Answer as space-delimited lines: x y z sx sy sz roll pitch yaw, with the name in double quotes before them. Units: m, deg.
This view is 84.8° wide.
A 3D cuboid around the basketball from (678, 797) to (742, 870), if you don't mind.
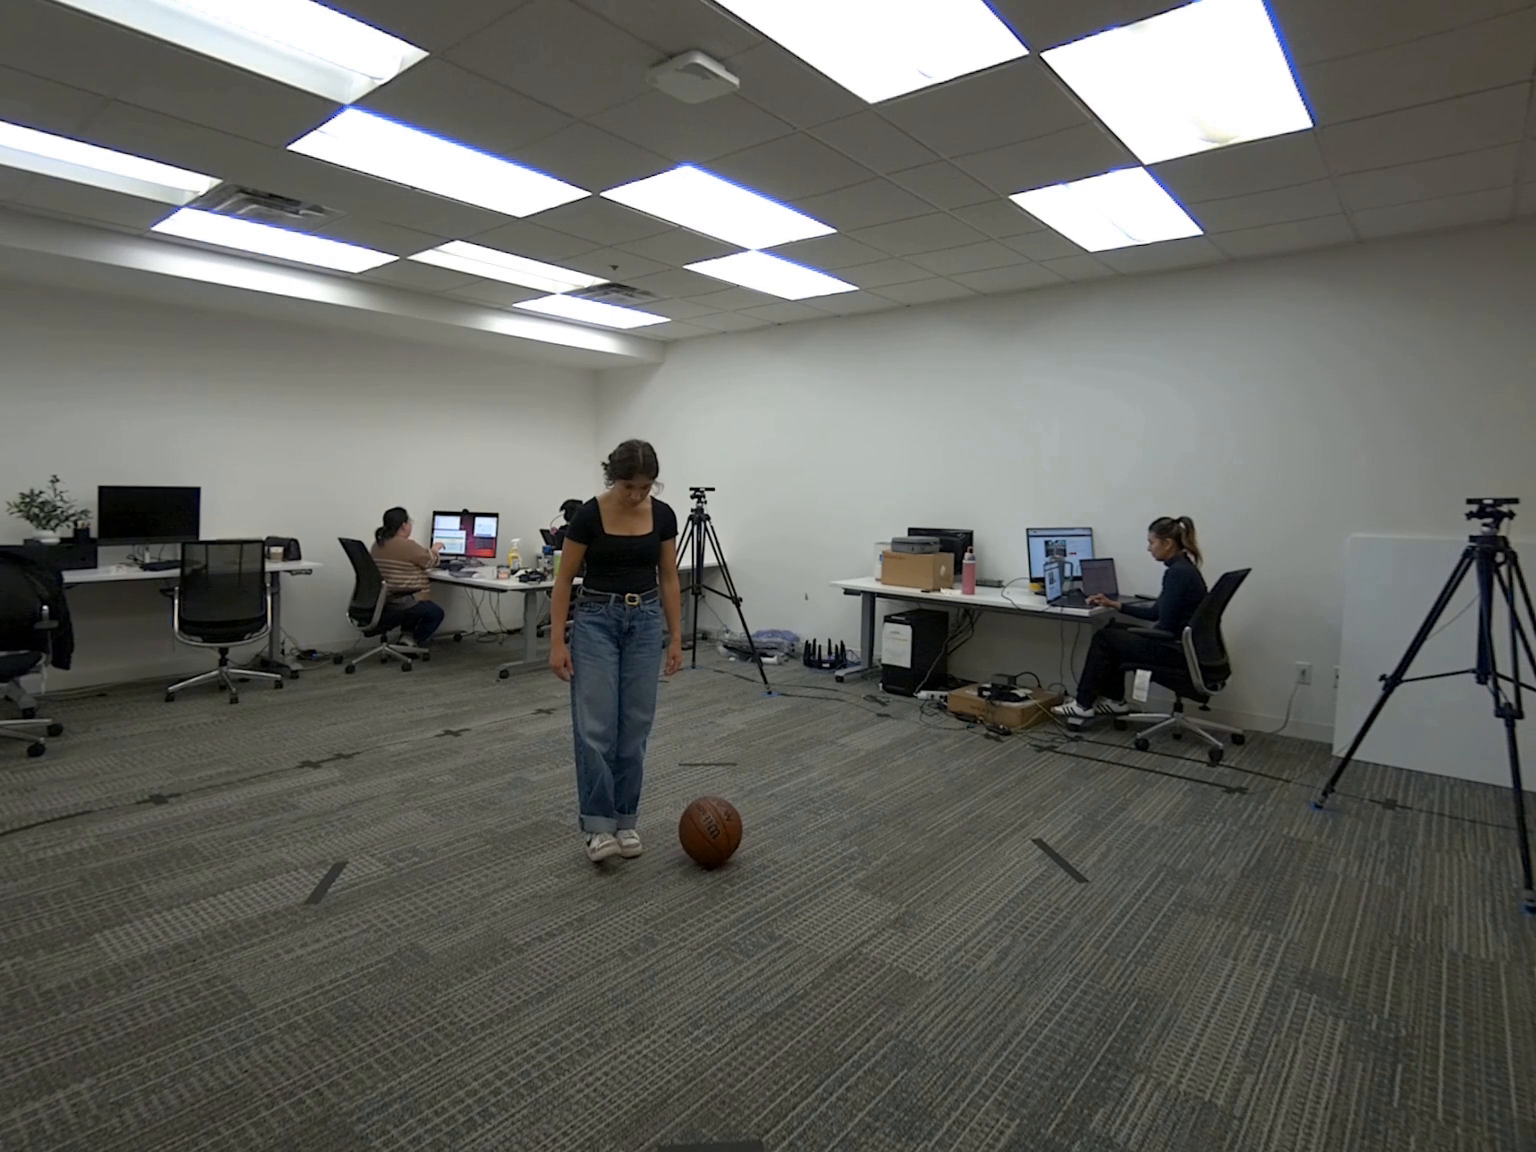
"basketball" -0.219 0.938 3.160 0.235 0.235 0.237 1 4 -2
